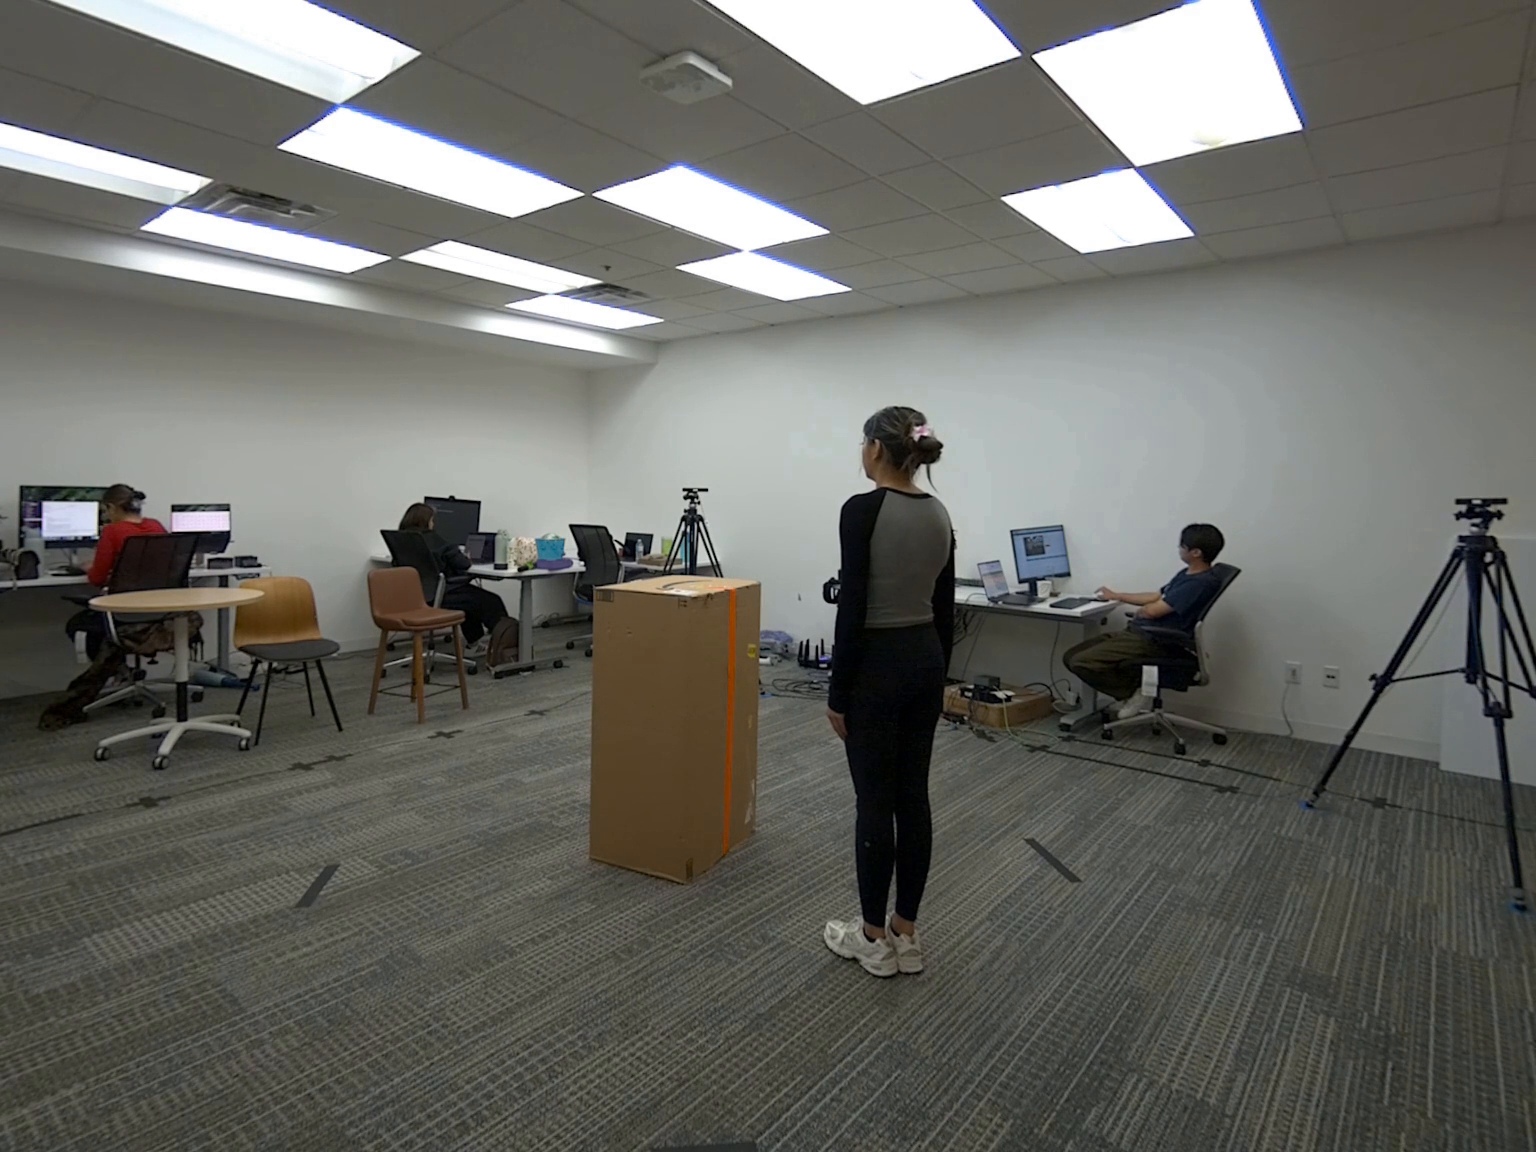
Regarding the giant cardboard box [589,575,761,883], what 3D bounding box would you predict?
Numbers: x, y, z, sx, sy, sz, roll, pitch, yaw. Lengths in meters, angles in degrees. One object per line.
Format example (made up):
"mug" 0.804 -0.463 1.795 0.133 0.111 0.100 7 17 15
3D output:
"giant cardboard box" -0.354 0.539 3.304 0.438 1.023 0.564 3 4 27
